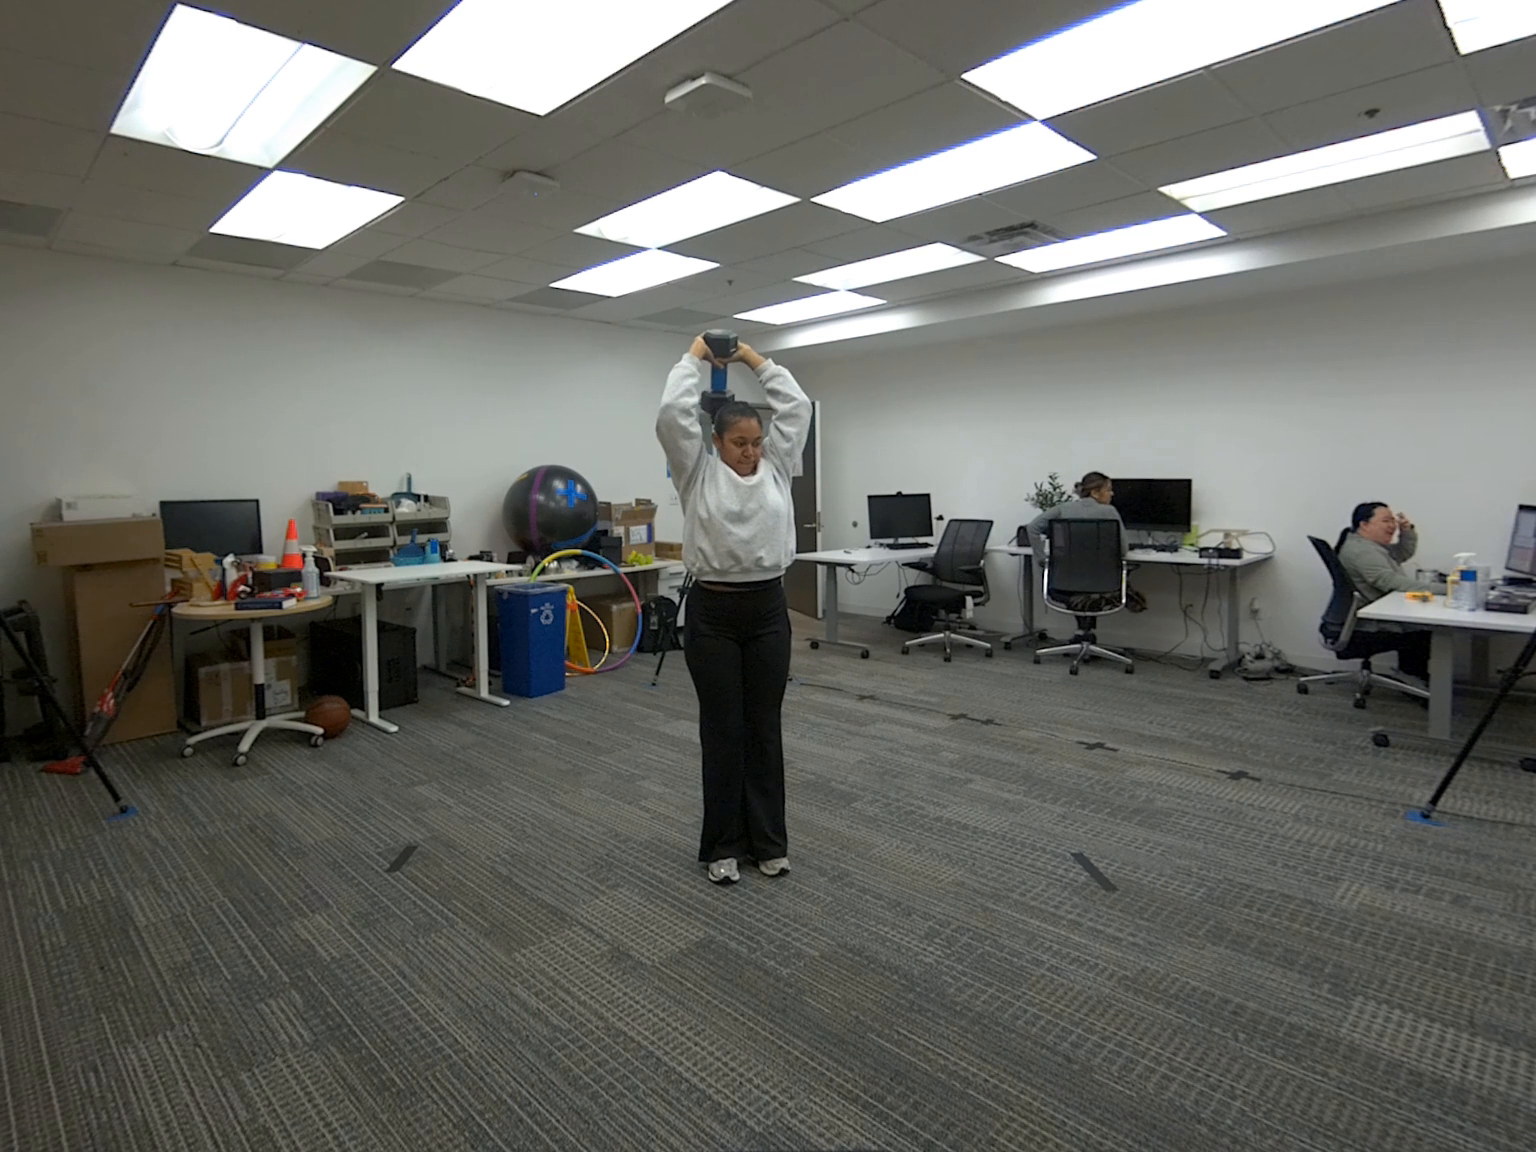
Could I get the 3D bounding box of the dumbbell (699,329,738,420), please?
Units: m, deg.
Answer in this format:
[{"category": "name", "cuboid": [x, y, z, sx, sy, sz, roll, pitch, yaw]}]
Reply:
[{"category": "dumbbell", "cuboid": [-0.167, -0.720, 3.070, 0.111, 0.287, 0.122, 12, 28, 24]}]
